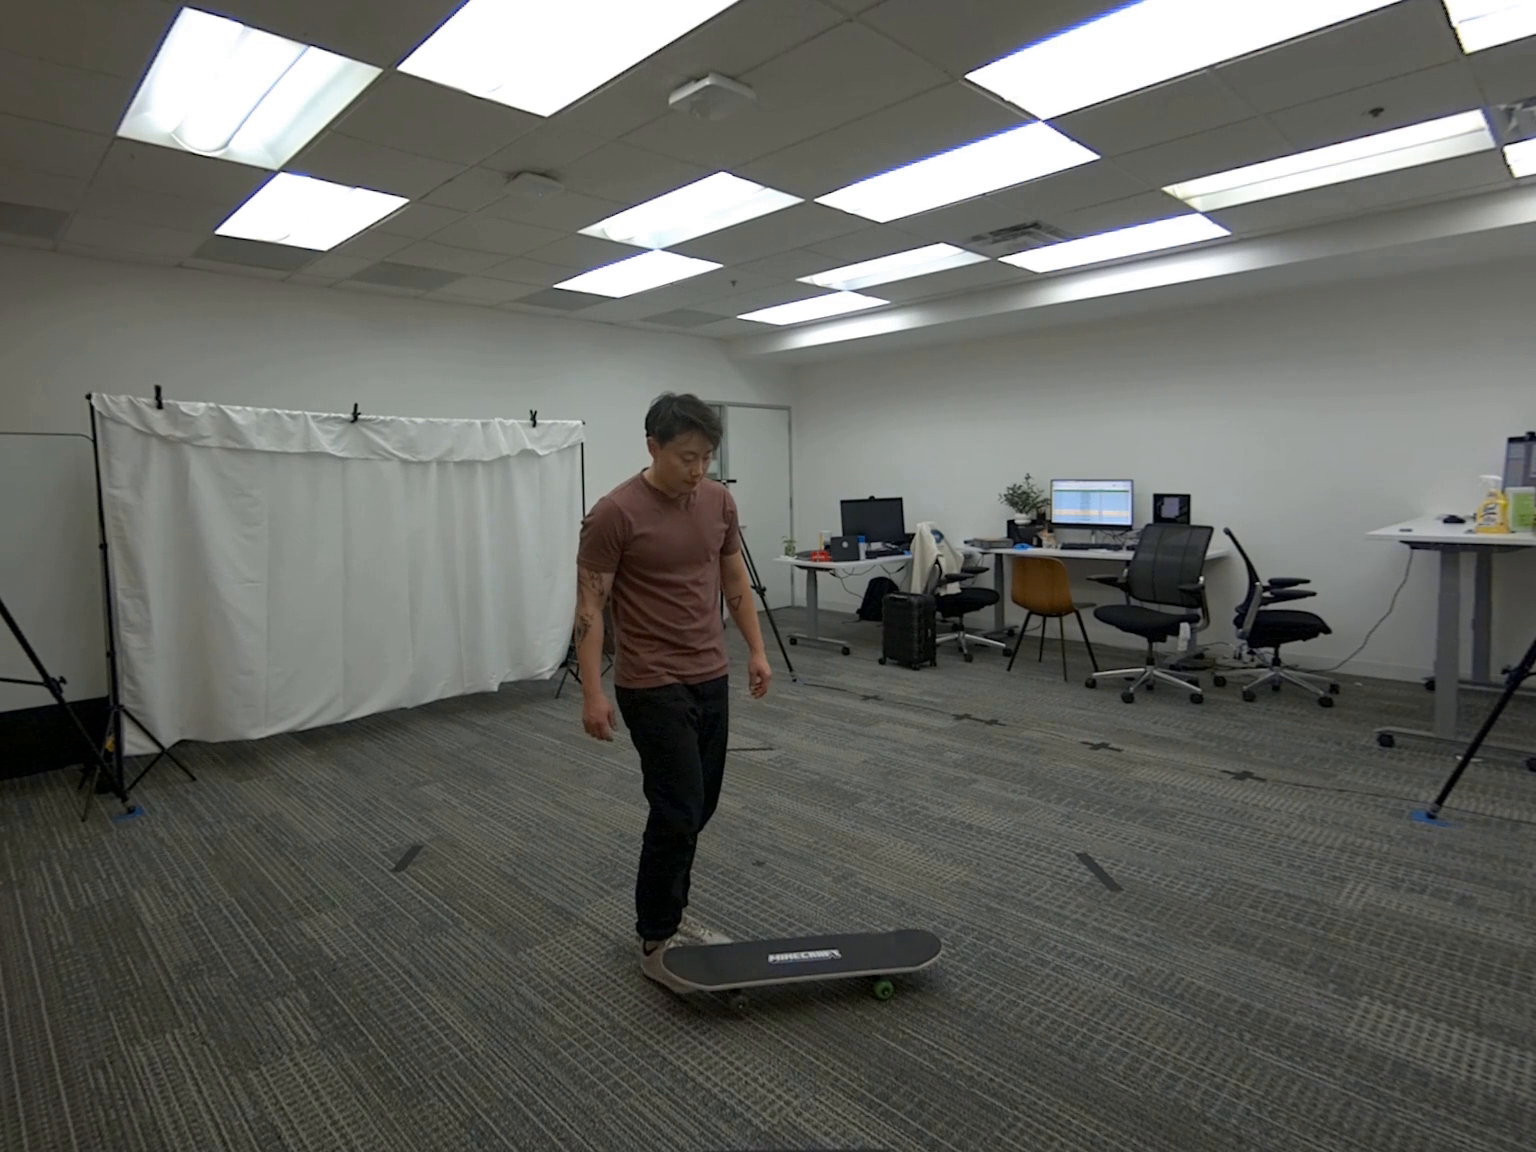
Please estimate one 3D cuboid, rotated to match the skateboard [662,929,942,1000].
[{"bbox_3d":[0.108,1.069,2.328,0.777,0.110,0.196,0,5,-10],"label":"skateboard"}]
